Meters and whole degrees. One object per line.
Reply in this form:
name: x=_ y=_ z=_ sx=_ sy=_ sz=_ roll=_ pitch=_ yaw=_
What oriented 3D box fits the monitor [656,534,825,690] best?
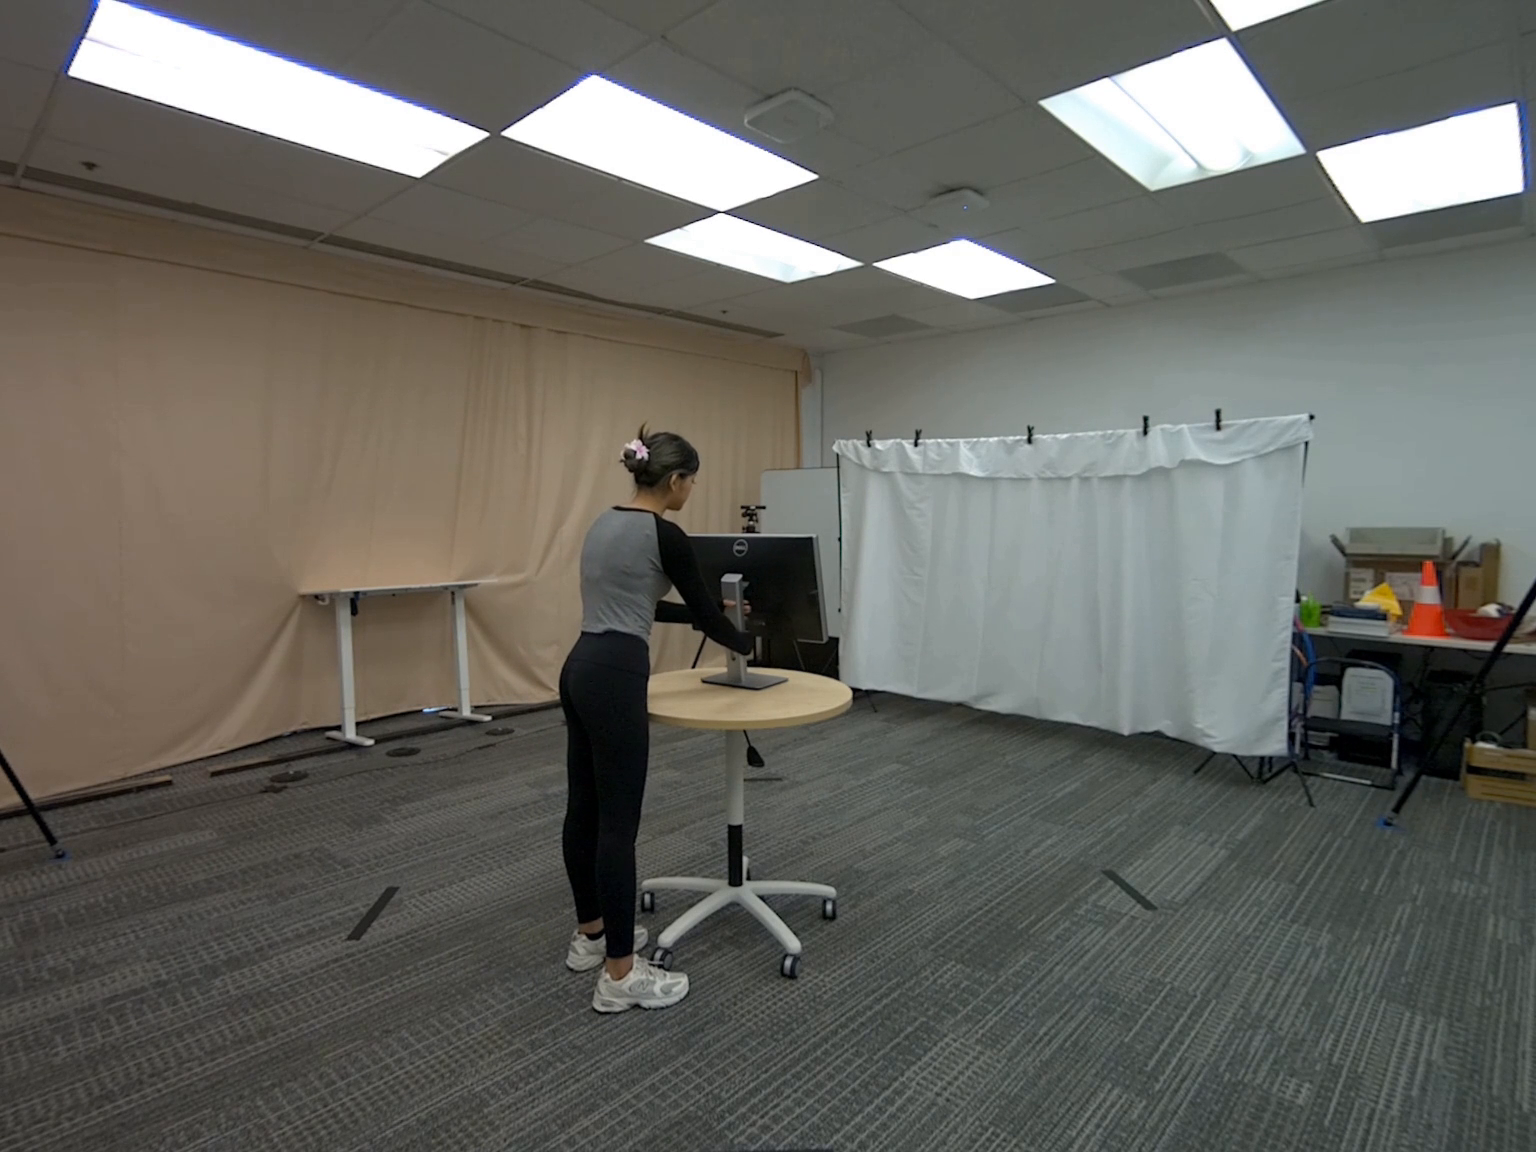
monitor: x=-0.076 y=0.116 z=2.878 sx=0.546 sy=0.517 sz=0.169 roll=0 pitch=-5 yaw=35
